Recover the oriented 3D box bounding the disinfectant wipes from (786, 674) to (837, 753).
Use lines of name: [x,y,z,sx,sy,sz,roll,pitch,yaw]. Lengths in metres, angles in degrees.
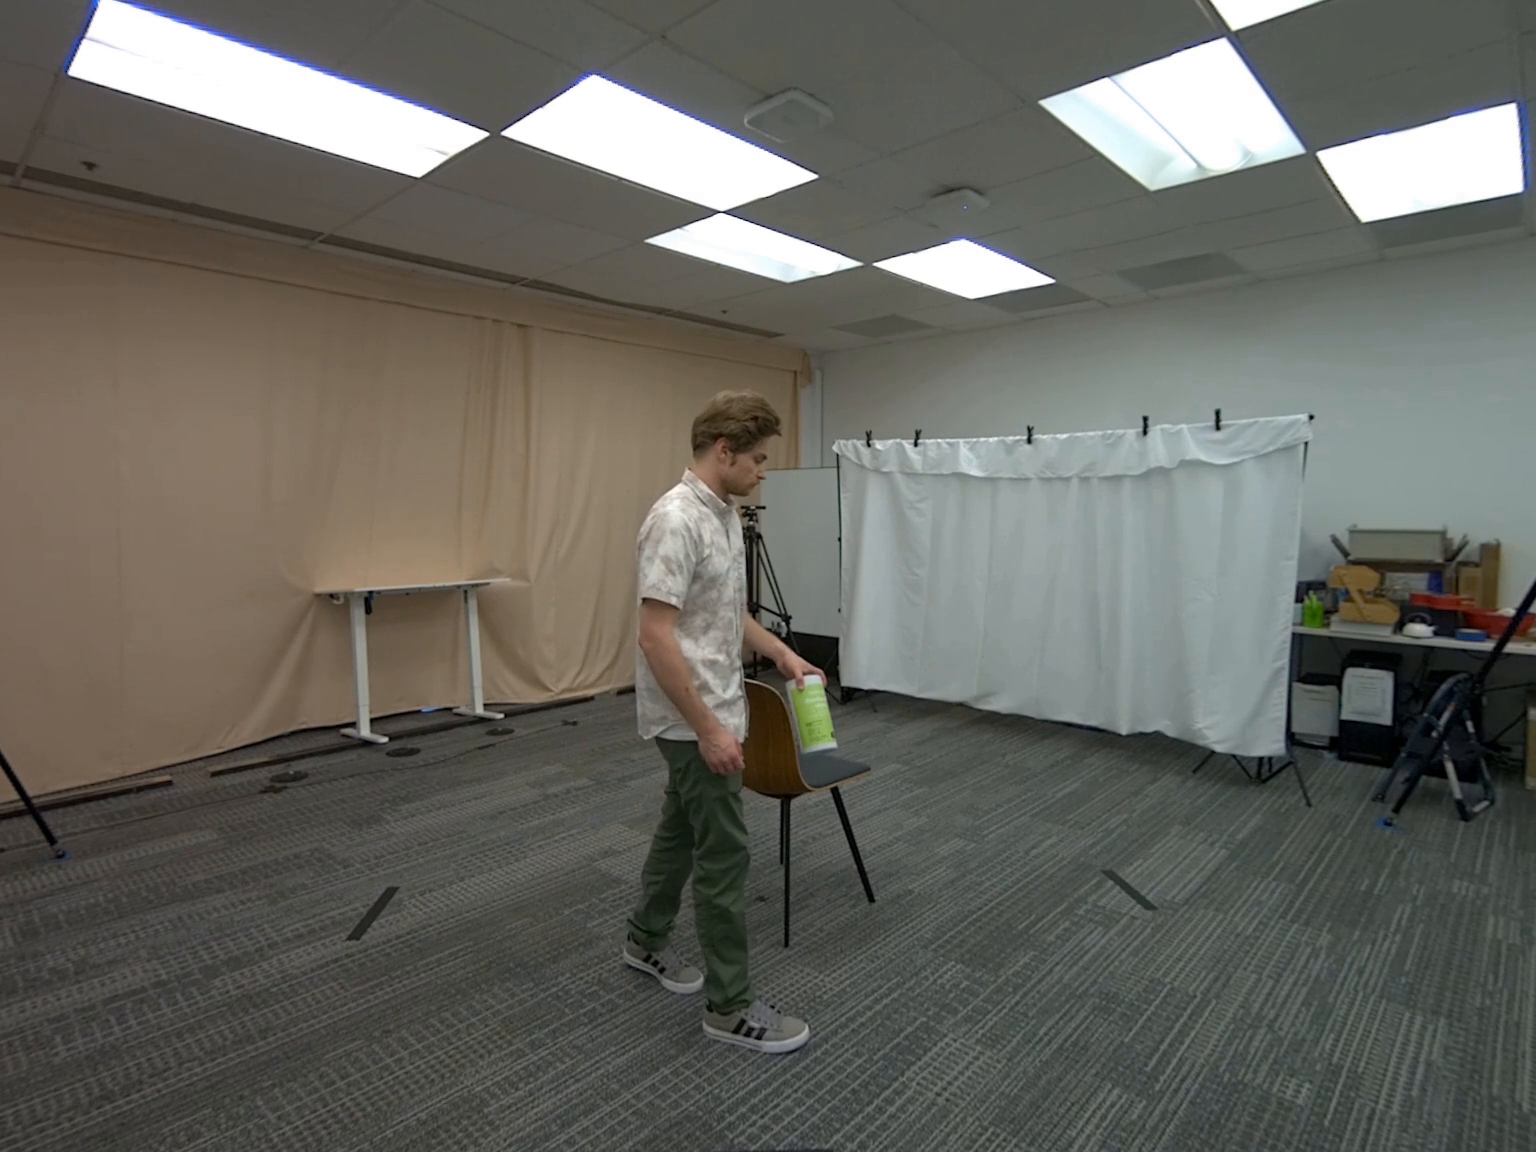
disinfectant wipes: [0.131,0.412,2.405,0.117,0.220,0.116,-11,-16,-5]
